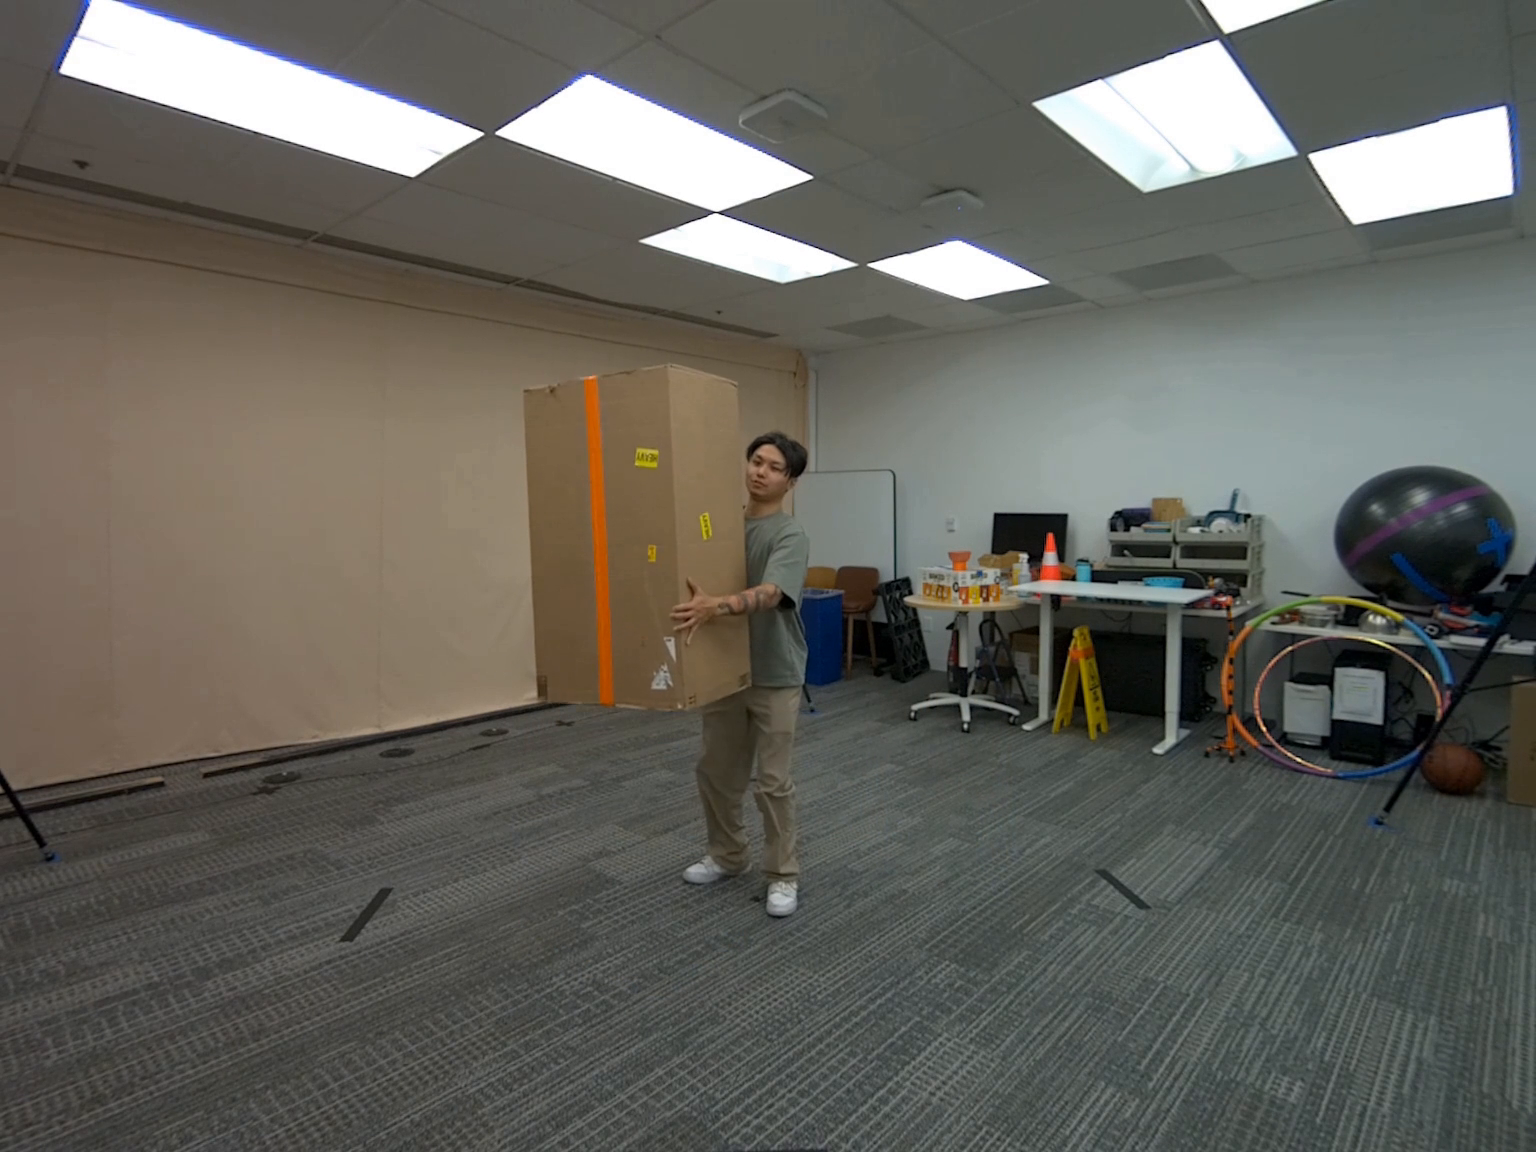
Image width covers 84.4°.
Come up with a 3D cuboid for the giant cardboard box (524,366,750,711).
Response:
[{"bbox_3d":[-0.429,-0.114,2.783,0.593,1.025,0.415,-2,2,28],"label":"giant cardboard box"}]
